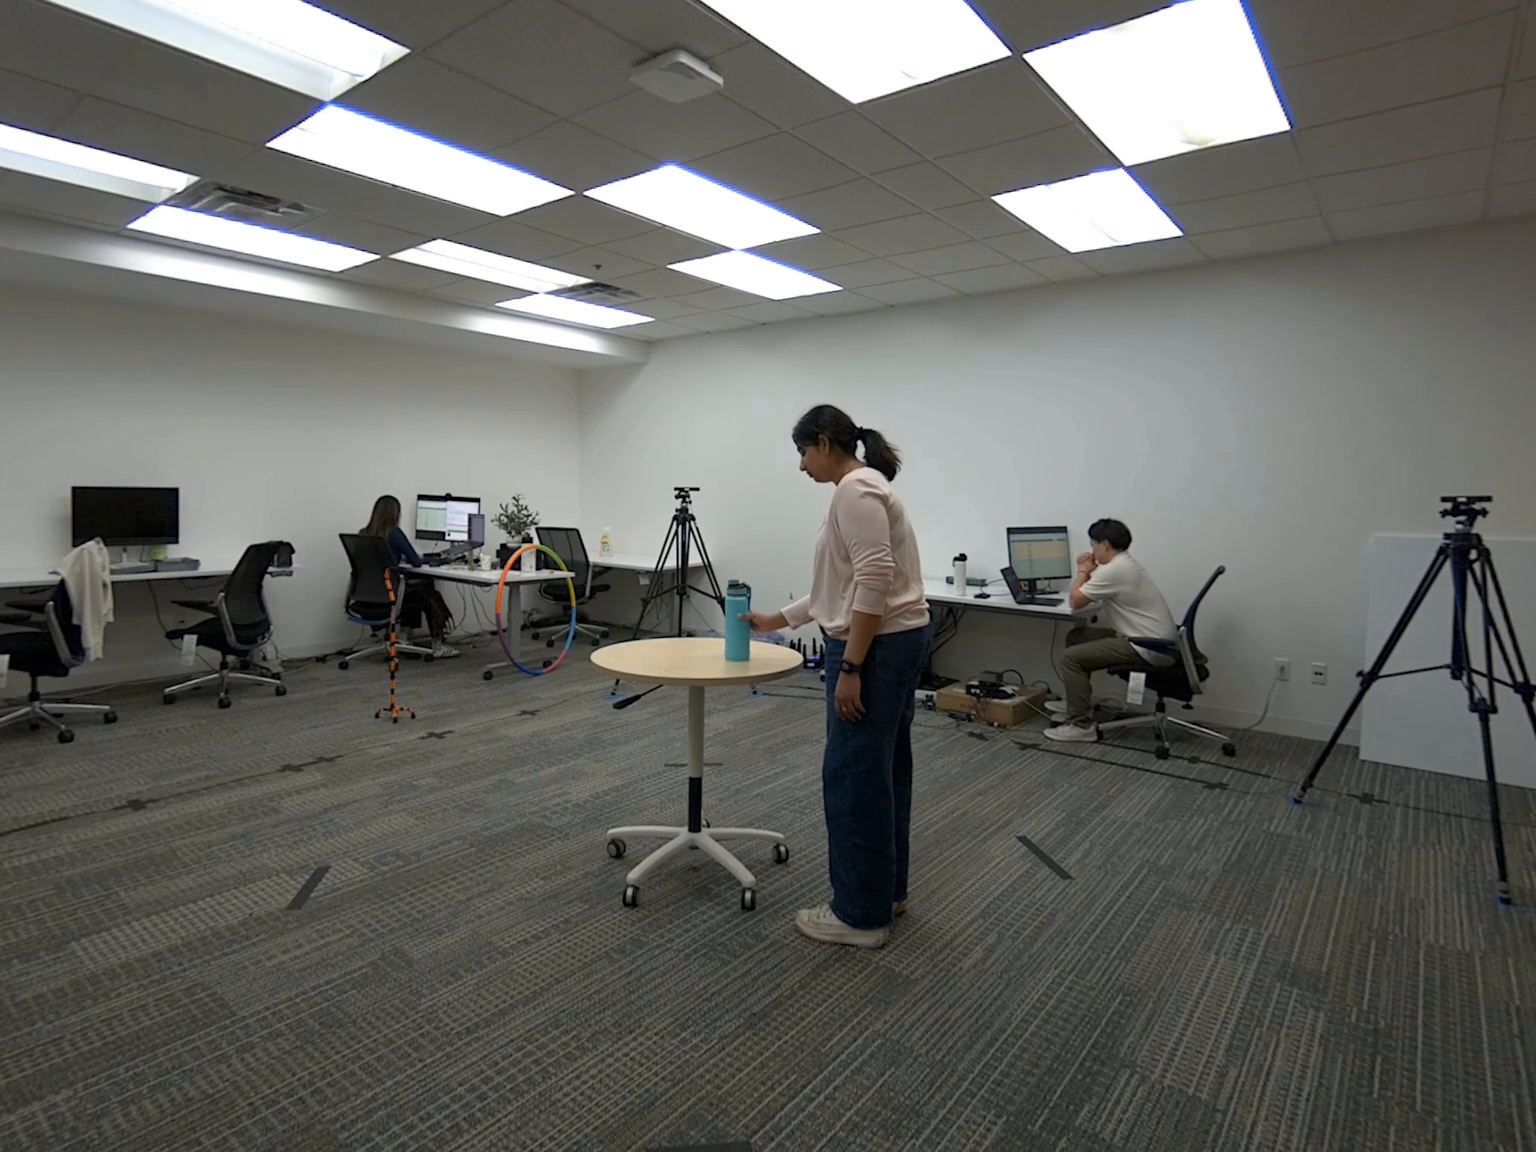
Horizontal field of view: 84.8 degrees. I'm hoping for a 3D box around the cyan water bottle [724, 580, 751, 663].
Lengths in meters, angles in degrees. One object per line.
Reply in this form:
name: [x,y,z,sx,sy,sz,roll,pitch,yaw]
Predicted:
cyan water bottle: [-0.118,0.155,3.010,0.092,0.282,0.093,-1,3,-2]
